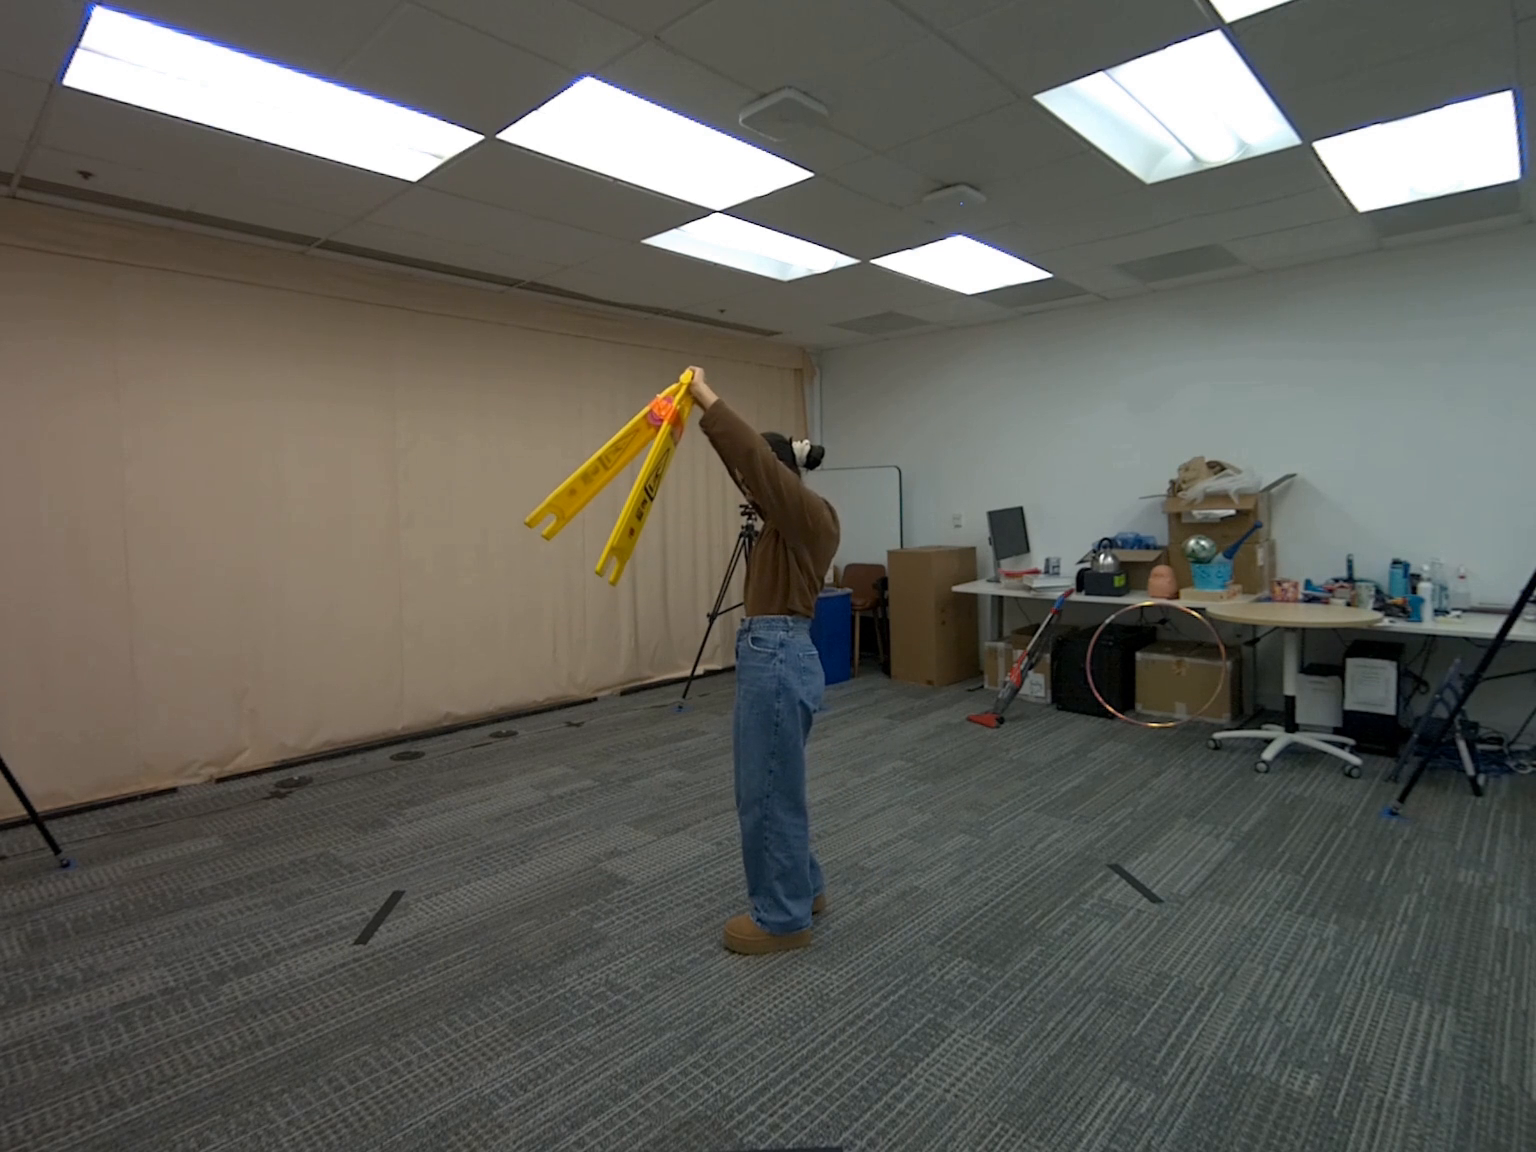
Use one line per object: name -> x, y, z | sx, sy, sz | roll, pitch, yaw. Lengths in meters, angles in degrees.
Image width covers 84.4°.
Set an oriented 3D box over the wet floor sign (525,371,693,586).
wet floor sign -> -0.410, -0.321, 2.522 | 0.292, 0.646, 0.280 | 32, -7, 5
